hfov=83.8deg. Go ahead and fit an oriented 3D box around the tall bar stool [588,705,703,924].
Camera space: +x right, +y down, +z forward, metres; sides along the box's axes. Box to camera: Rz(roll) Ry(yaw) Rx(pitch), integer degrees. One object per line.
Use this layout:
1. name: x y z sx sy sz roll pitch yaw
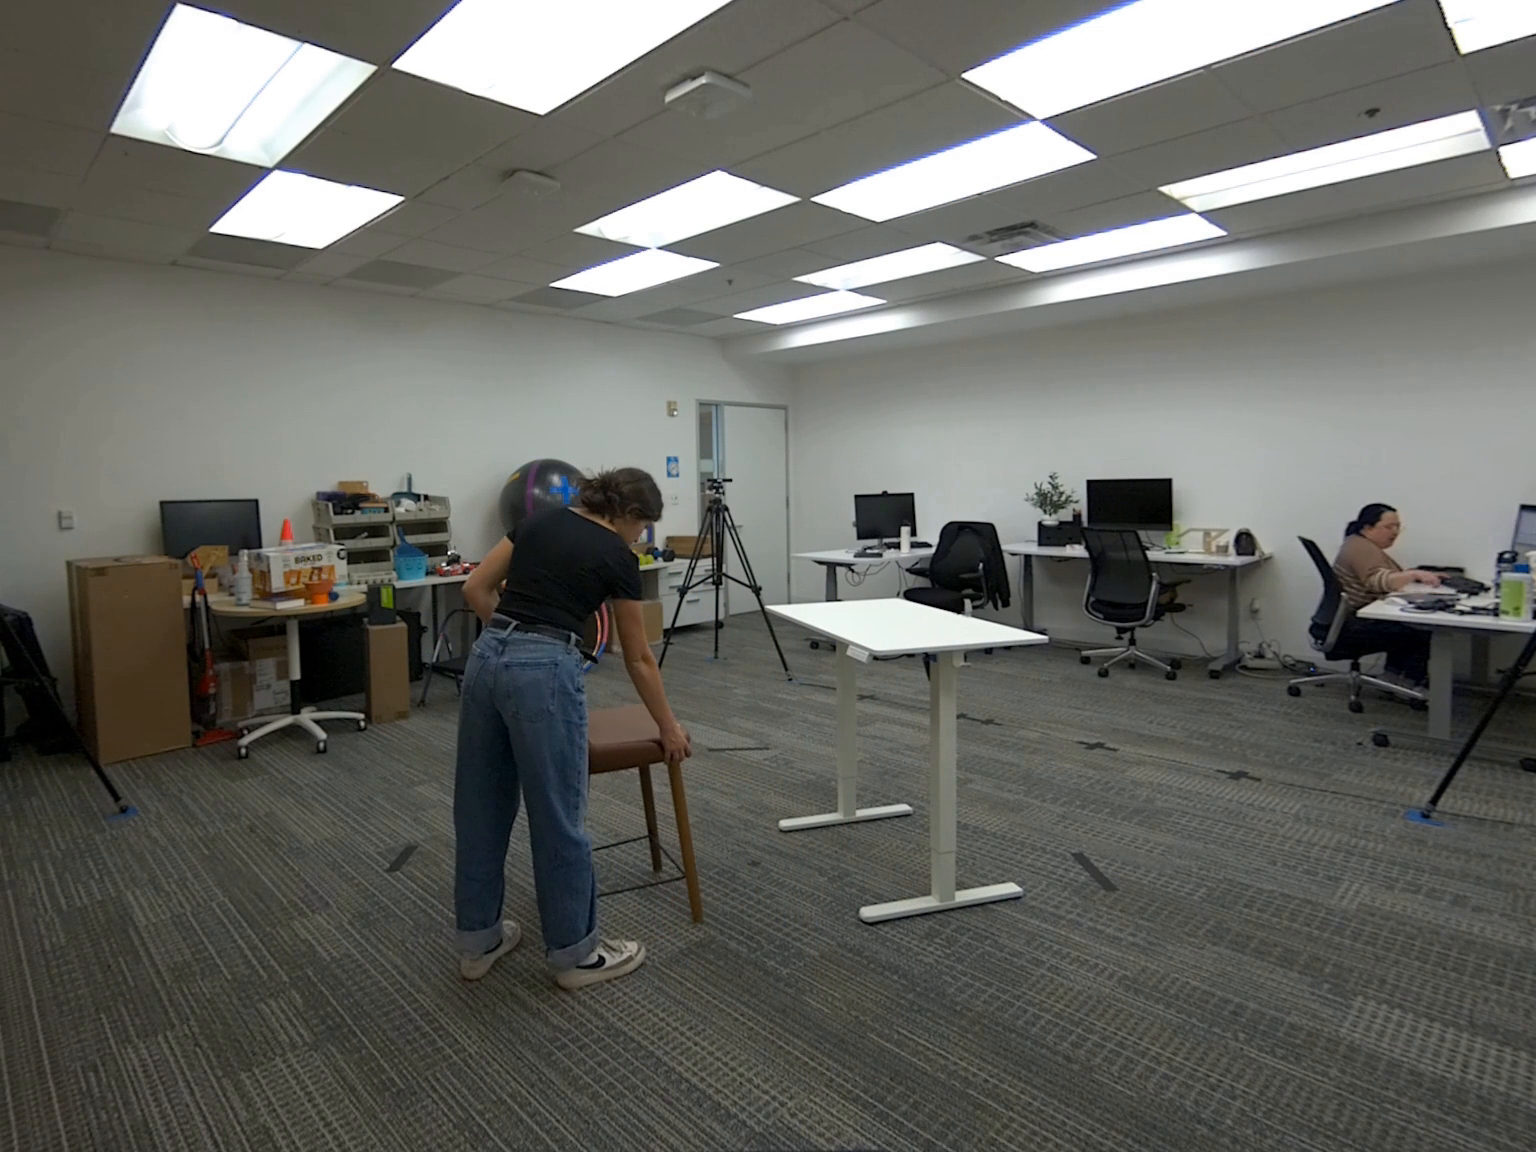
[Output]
1. tall bar stool: -0.503 0.655 2.765 0.458 0.886 0.468 -5 5 -25
